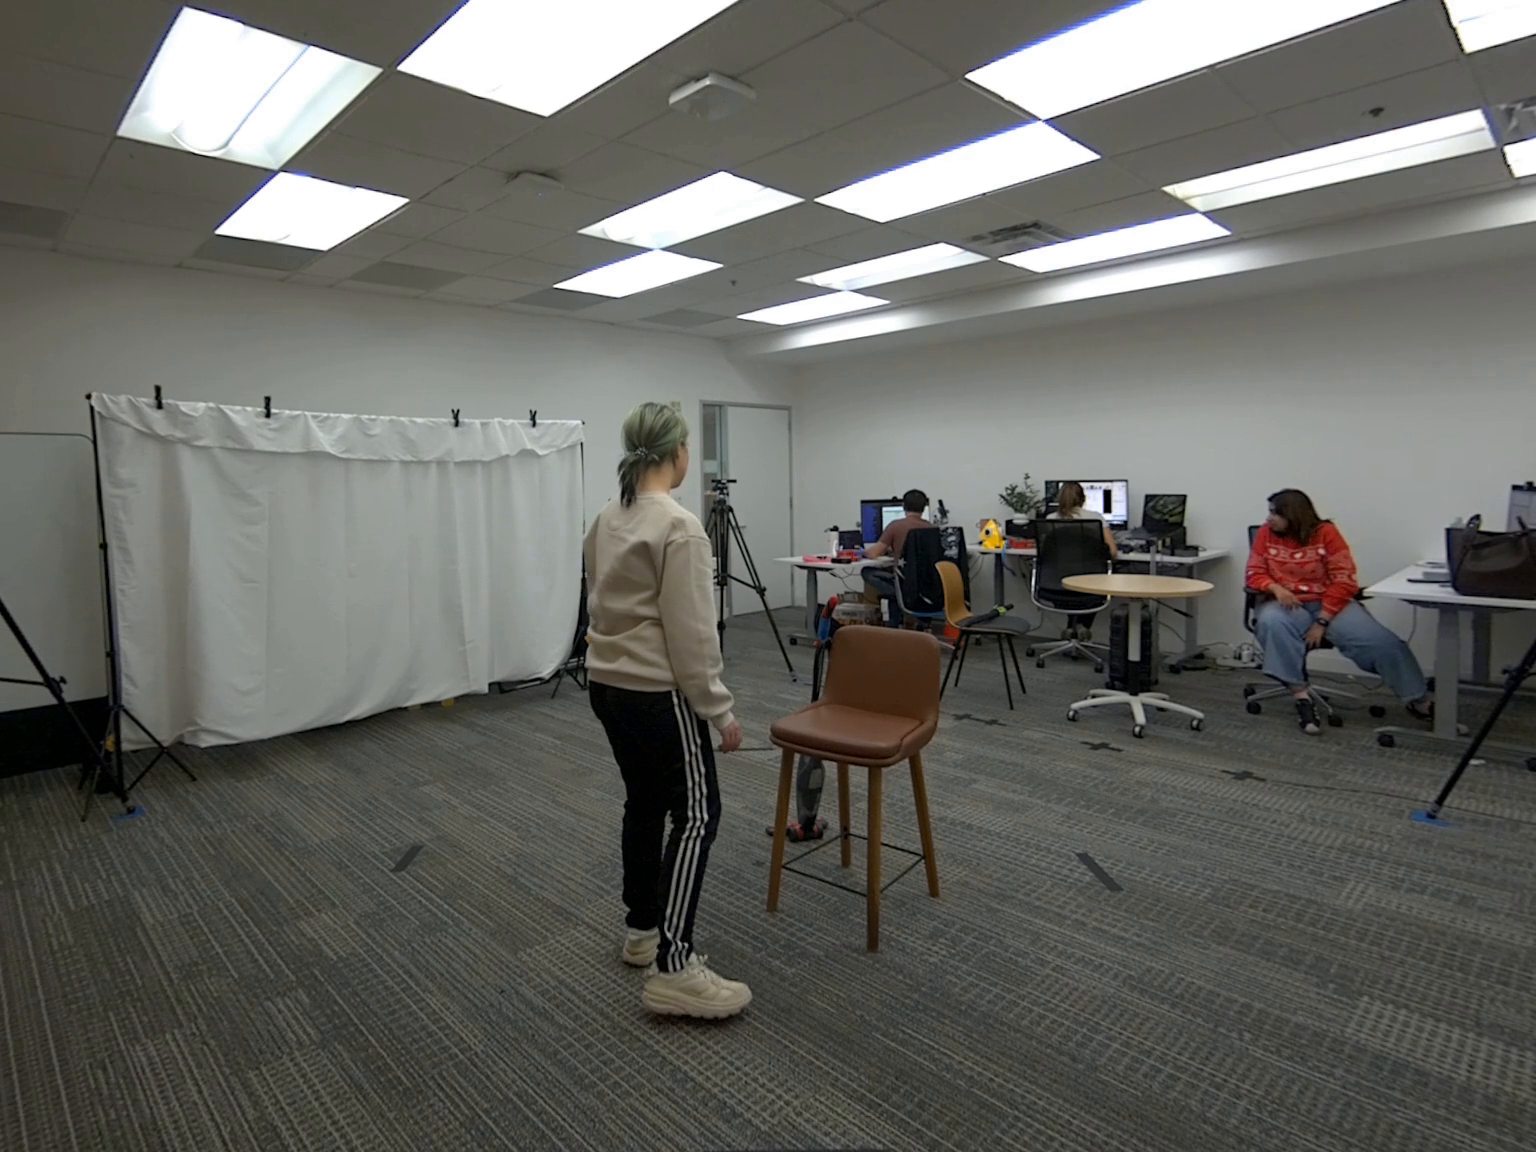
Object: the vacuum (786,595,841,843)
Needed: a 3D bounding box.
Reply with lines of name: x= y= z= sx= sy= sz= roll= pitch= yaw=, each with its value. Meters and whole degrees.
vacuum: x=0.180 y=0.545 z=3.160 sx=0.249 sy=1.031 sz=0.149 roll=-1 pitch=25 yaw=-17
